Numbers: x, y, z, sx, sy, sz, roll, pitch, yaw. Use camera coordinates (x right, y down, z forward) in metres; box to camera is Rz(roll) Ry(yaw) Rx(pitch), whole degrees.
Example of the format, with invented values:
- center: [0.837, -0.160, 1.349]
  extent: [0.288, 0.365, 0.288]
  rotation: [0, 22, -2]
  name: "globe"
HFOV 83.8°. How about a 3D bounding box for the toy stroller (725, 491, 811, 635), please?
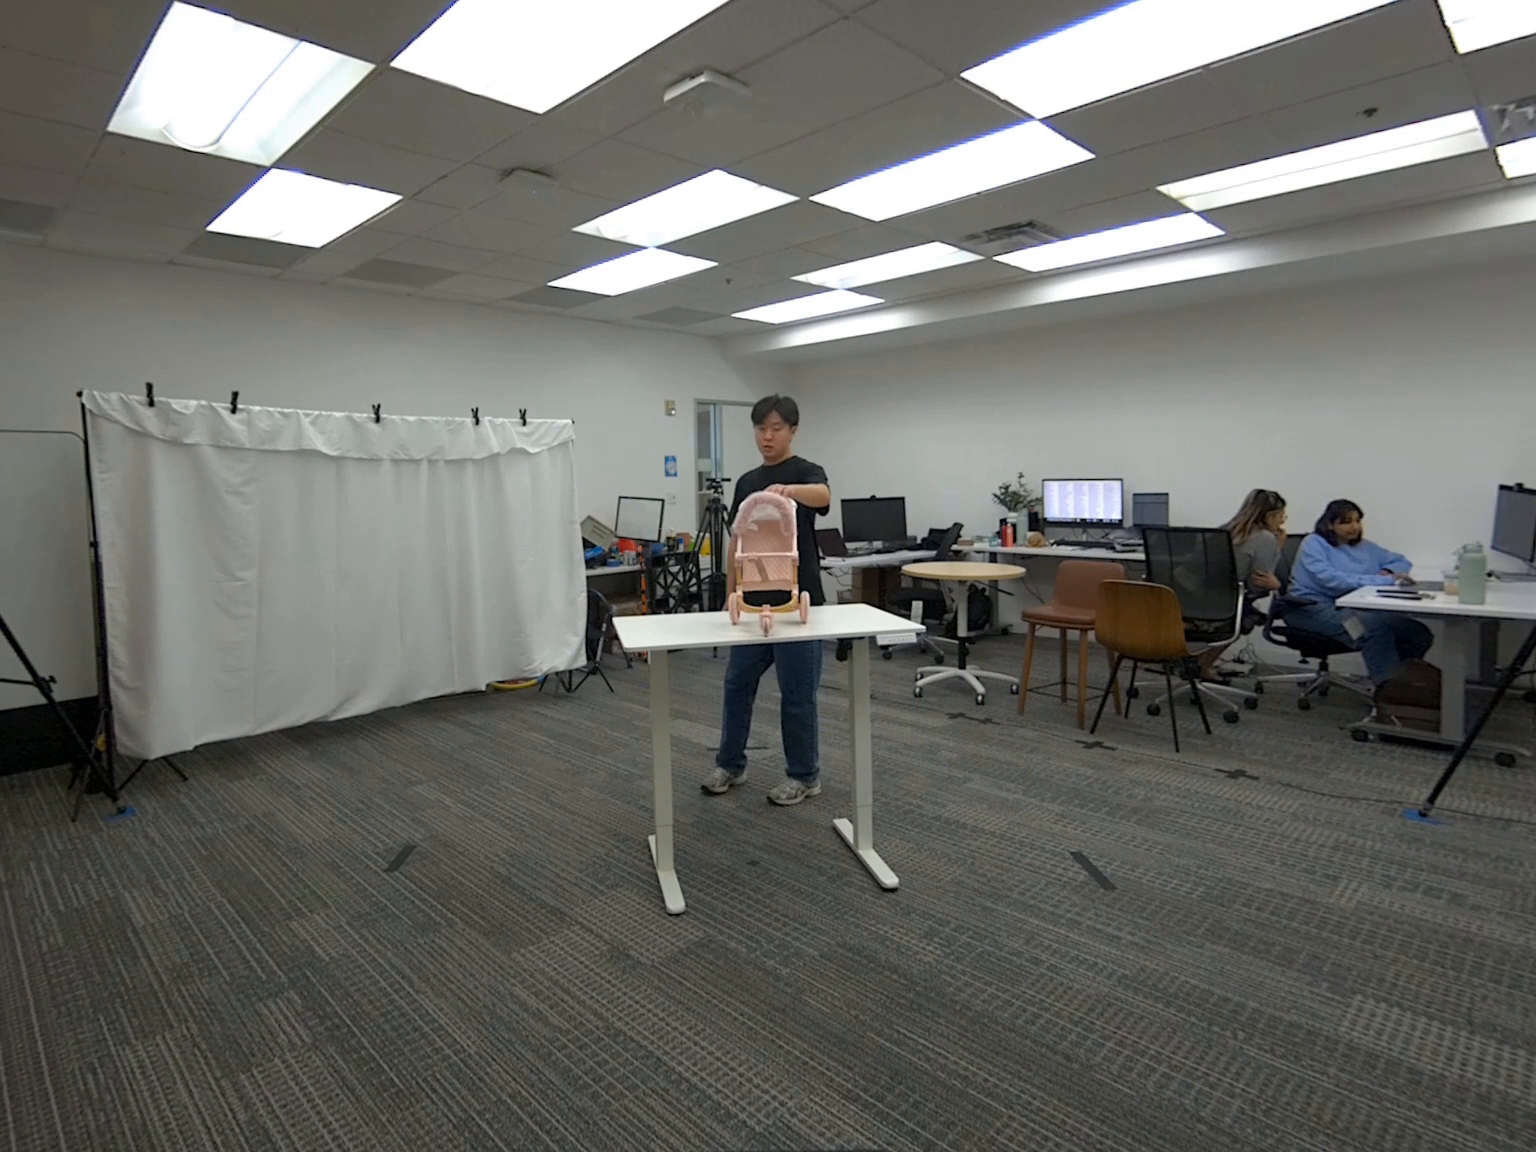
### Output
- center: [-0.007, -0.046, 2.938]
  extent: [0.284, 0.540, 0.335]
  rotation: [0, -10, 8]
  name: "toy stroller"
